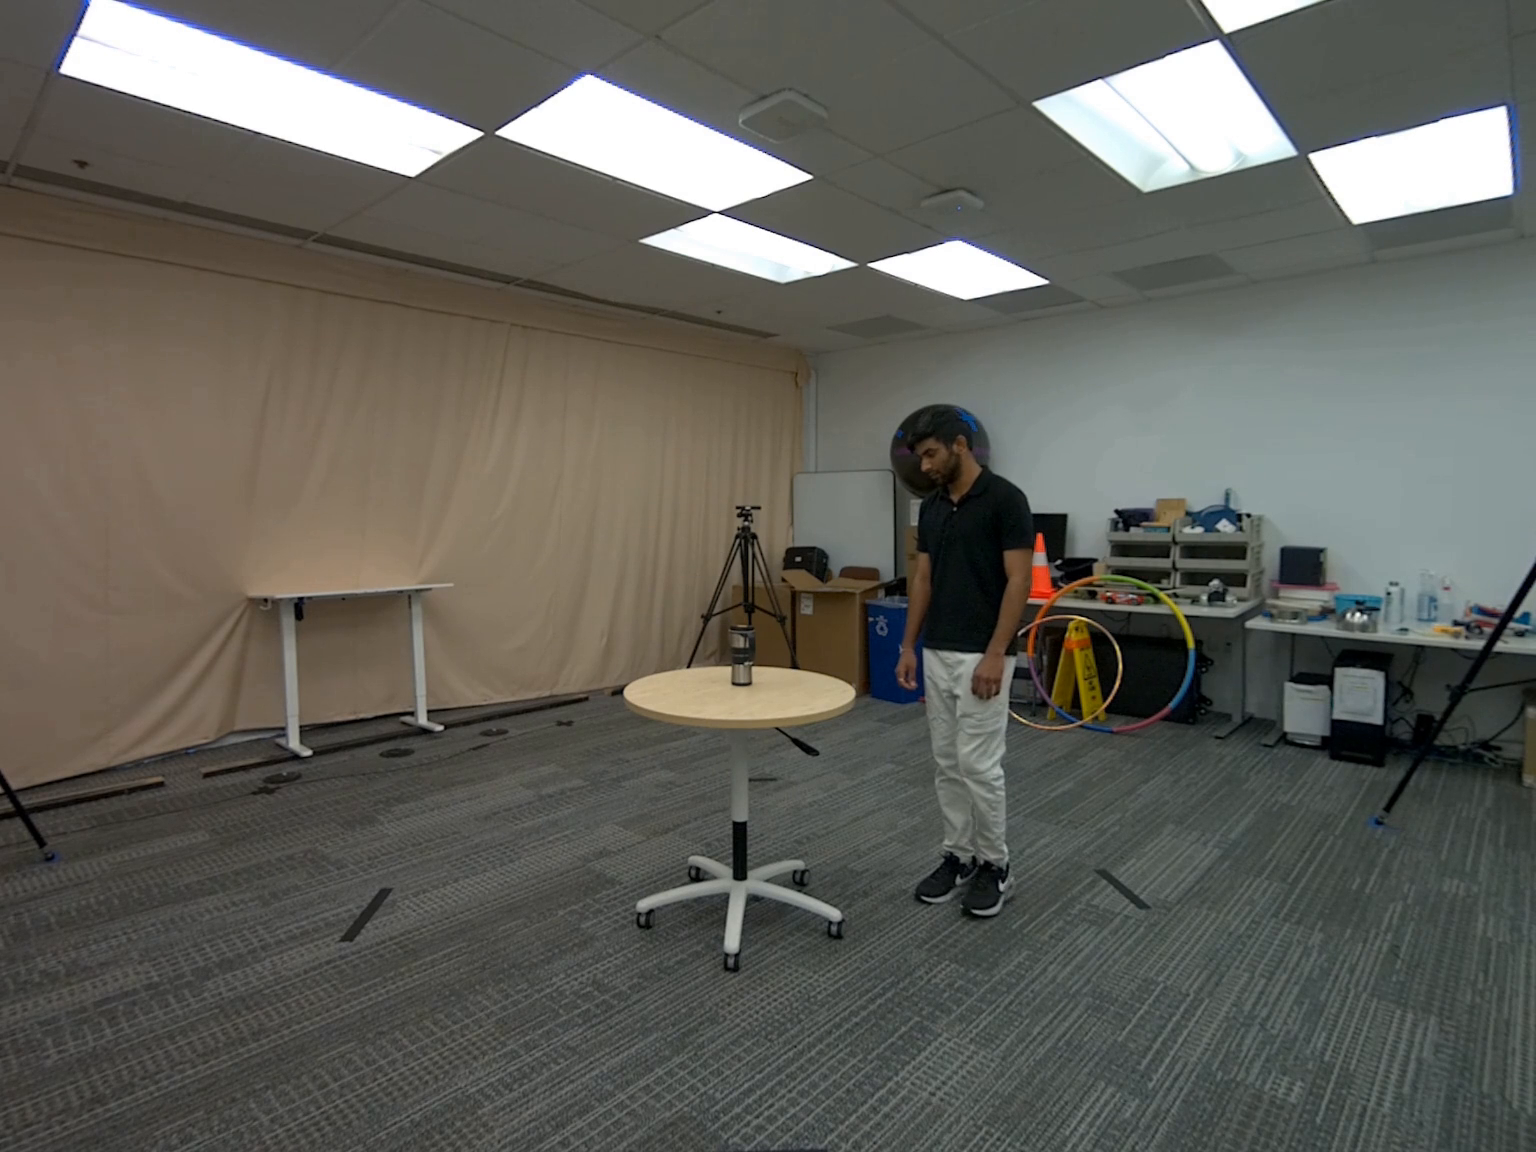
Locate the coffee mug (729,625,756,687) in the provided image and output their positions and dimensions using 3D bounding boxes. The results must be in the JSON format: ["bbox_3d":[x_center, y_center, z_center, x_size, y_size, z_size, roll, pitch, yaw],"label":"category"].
[{"bbox_3d":[-0.097,0.276,2.856,0.118,0.202,0.091,2,8,-42],"label":"coffee mug"}]
